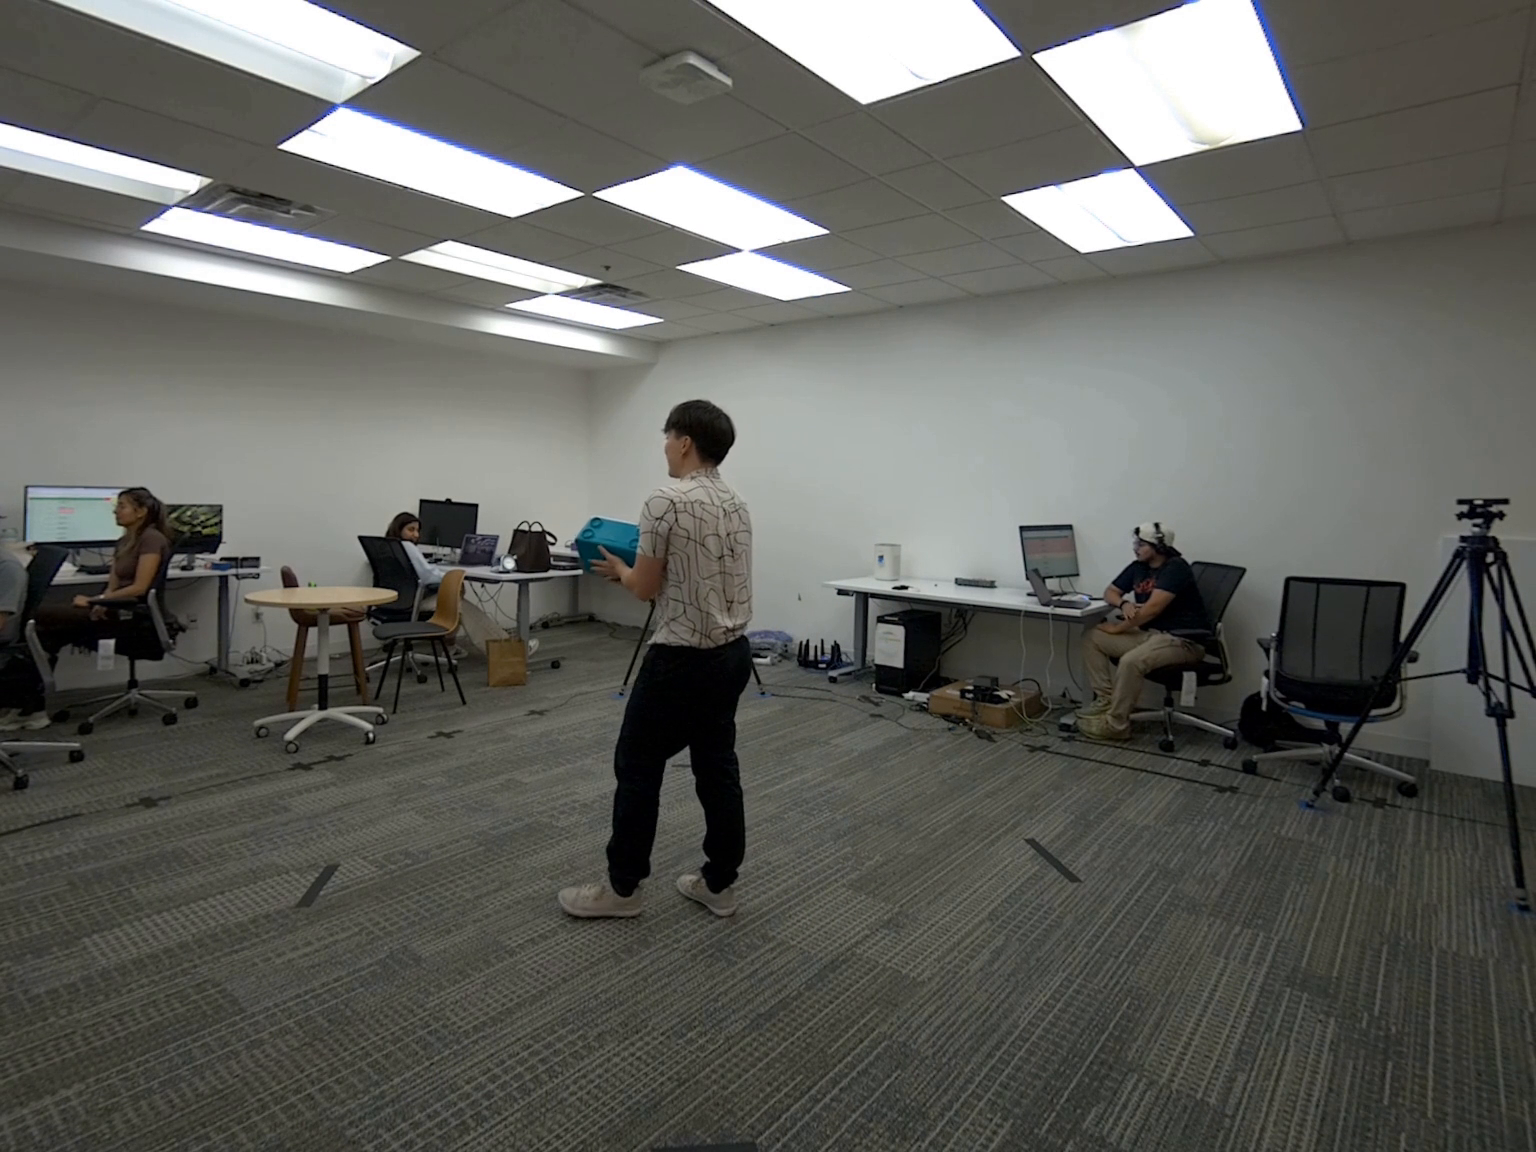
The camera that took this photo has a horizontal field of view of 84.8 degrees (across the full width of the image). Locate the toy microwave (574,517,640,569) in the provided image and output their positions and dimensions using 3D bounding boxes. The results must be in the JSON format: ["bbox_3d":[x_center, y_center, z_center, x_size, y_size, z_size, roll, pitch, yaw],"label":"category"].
[{"bbox_3d":[-0.529,-0.097,2.991,0.294,0.178,0.153,12,48,21],"label":"toy microwave"}]
